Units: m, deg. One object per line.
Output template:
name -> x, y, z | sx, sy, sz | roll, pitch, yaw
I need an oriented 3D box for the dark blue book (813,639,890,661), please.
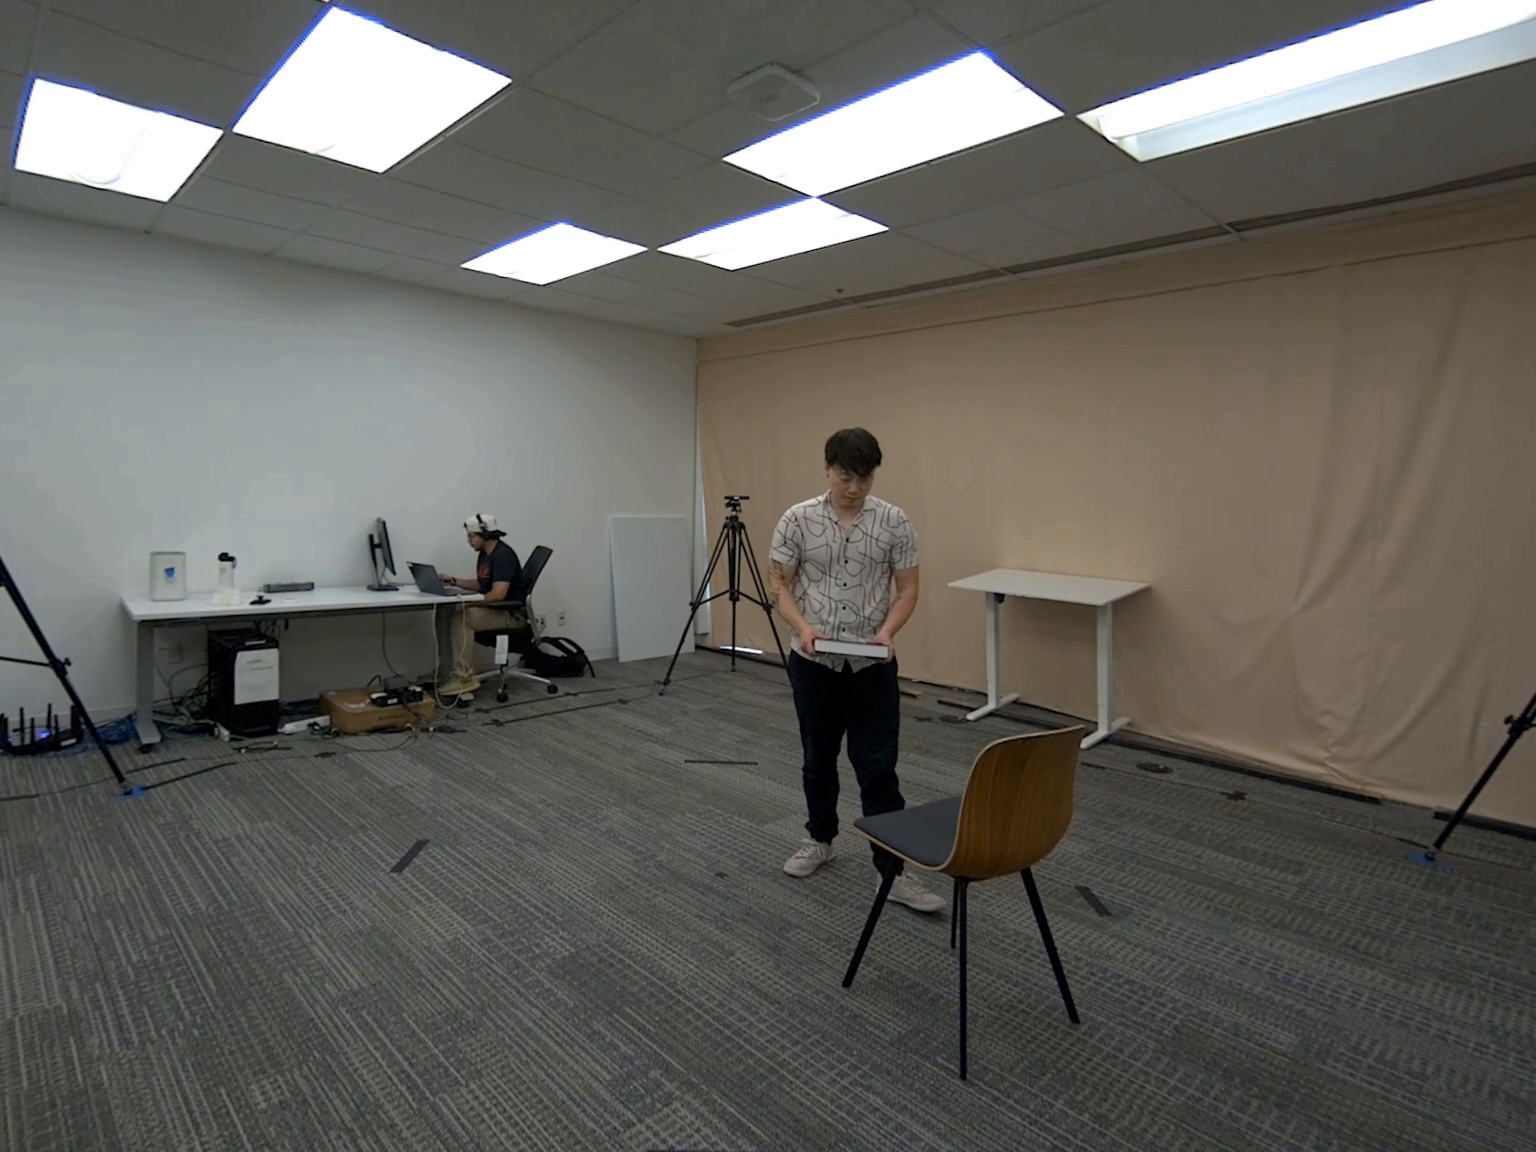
dark blue book -> 0.261, 0.246, 2.837 | 0.246, 0.045, 0.162 | 6, -5, 3
